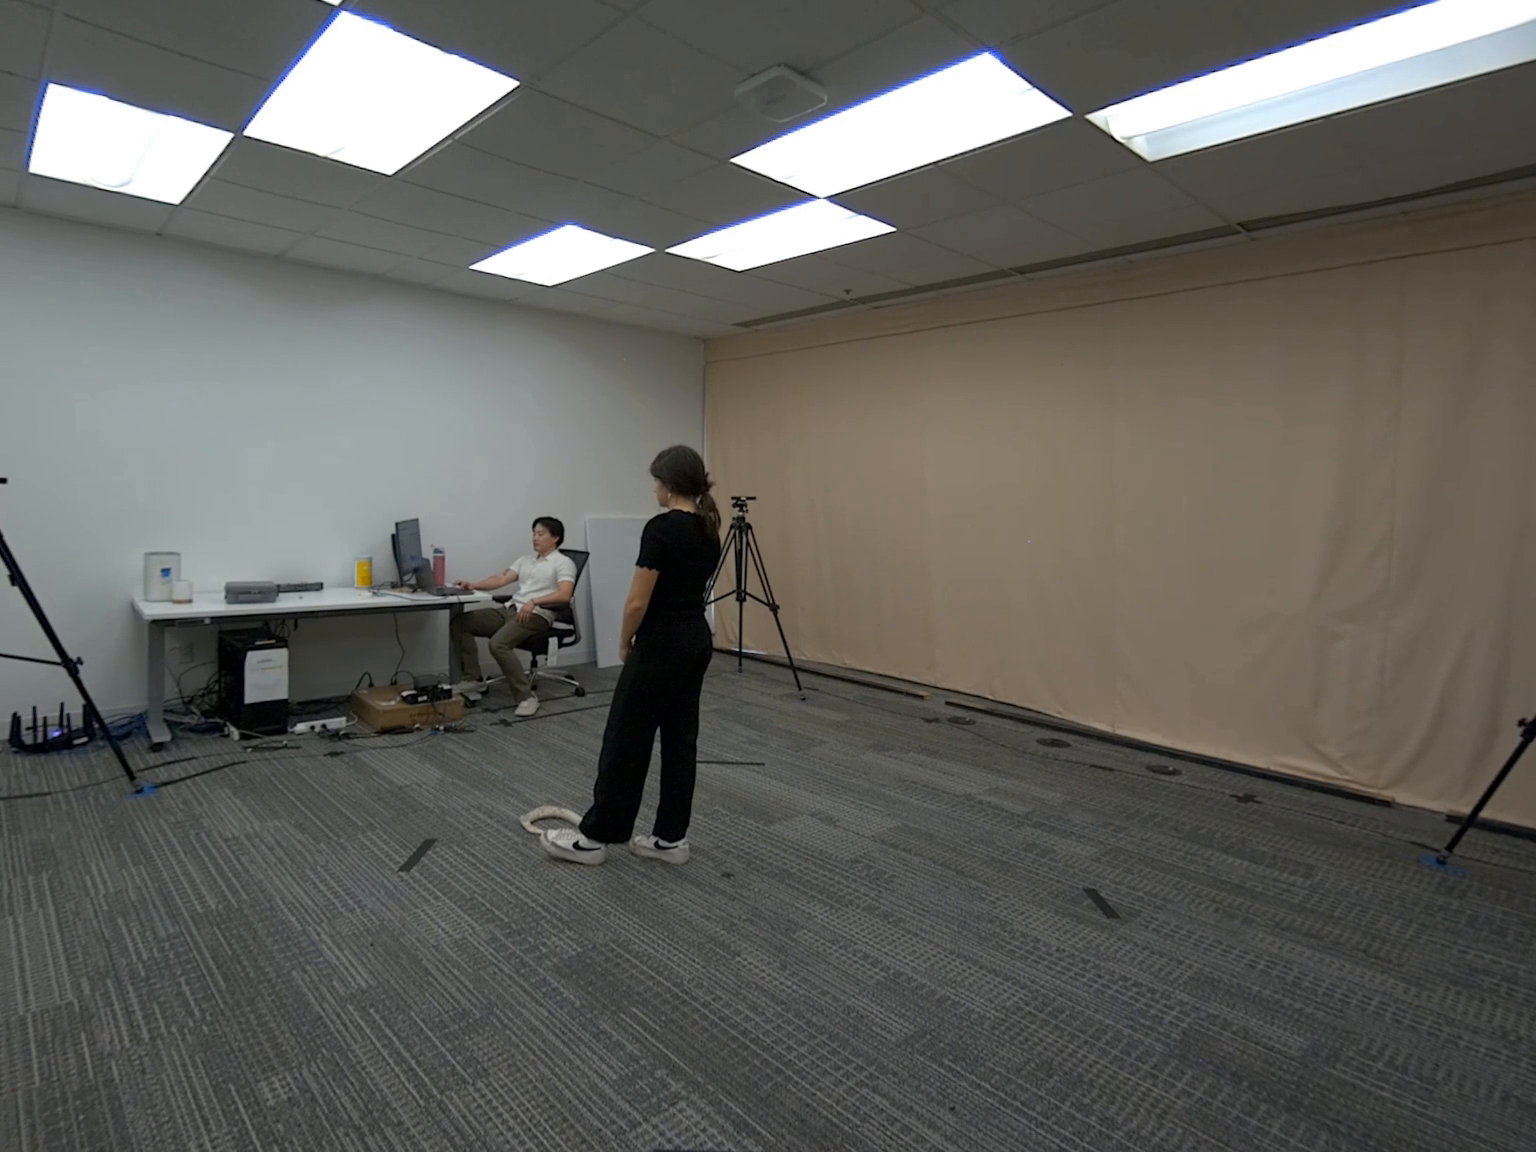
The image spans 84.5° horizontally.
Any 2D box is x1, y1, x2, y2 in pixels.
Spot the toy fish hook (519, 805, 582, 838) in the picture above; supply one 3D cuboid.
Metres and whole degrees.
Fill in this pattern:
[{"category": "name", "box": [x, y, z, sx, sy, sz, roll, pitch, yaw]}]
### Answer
[{"category": "toy fish hook", "box": [-0.813, 1.038, 3.463, 0.518, 0.048, 0.221, 4, 13, 34]}]
